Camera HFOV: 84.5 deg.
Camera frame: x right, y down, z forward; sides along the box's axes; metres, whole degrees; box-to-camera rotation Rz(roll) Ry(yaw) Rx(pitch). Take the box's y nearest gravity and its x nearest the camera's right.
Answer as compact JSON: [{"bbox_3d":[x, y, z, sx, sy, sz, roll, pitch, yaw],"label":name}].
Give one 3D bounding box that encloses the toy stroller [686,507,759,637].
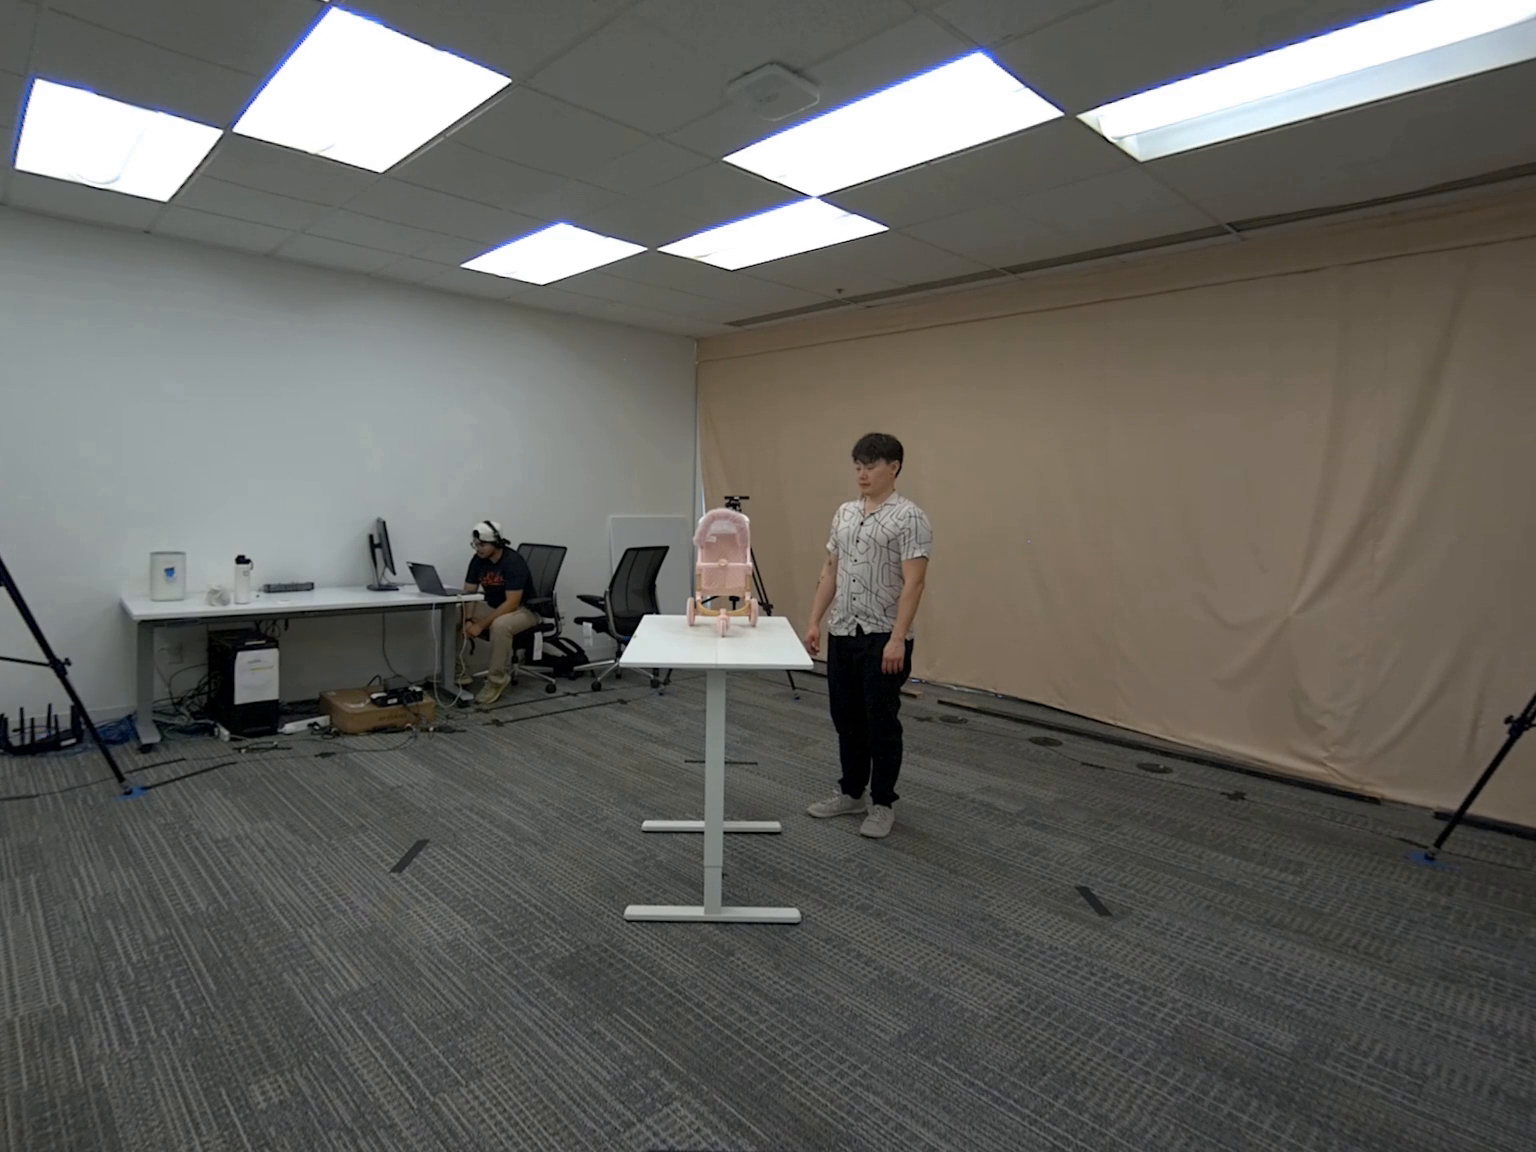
[{"bbox_3d":[-0.180,-0.019,3.253,0.282,0.539,0.338,1,-11,2],"label":"toy stroller"}]
